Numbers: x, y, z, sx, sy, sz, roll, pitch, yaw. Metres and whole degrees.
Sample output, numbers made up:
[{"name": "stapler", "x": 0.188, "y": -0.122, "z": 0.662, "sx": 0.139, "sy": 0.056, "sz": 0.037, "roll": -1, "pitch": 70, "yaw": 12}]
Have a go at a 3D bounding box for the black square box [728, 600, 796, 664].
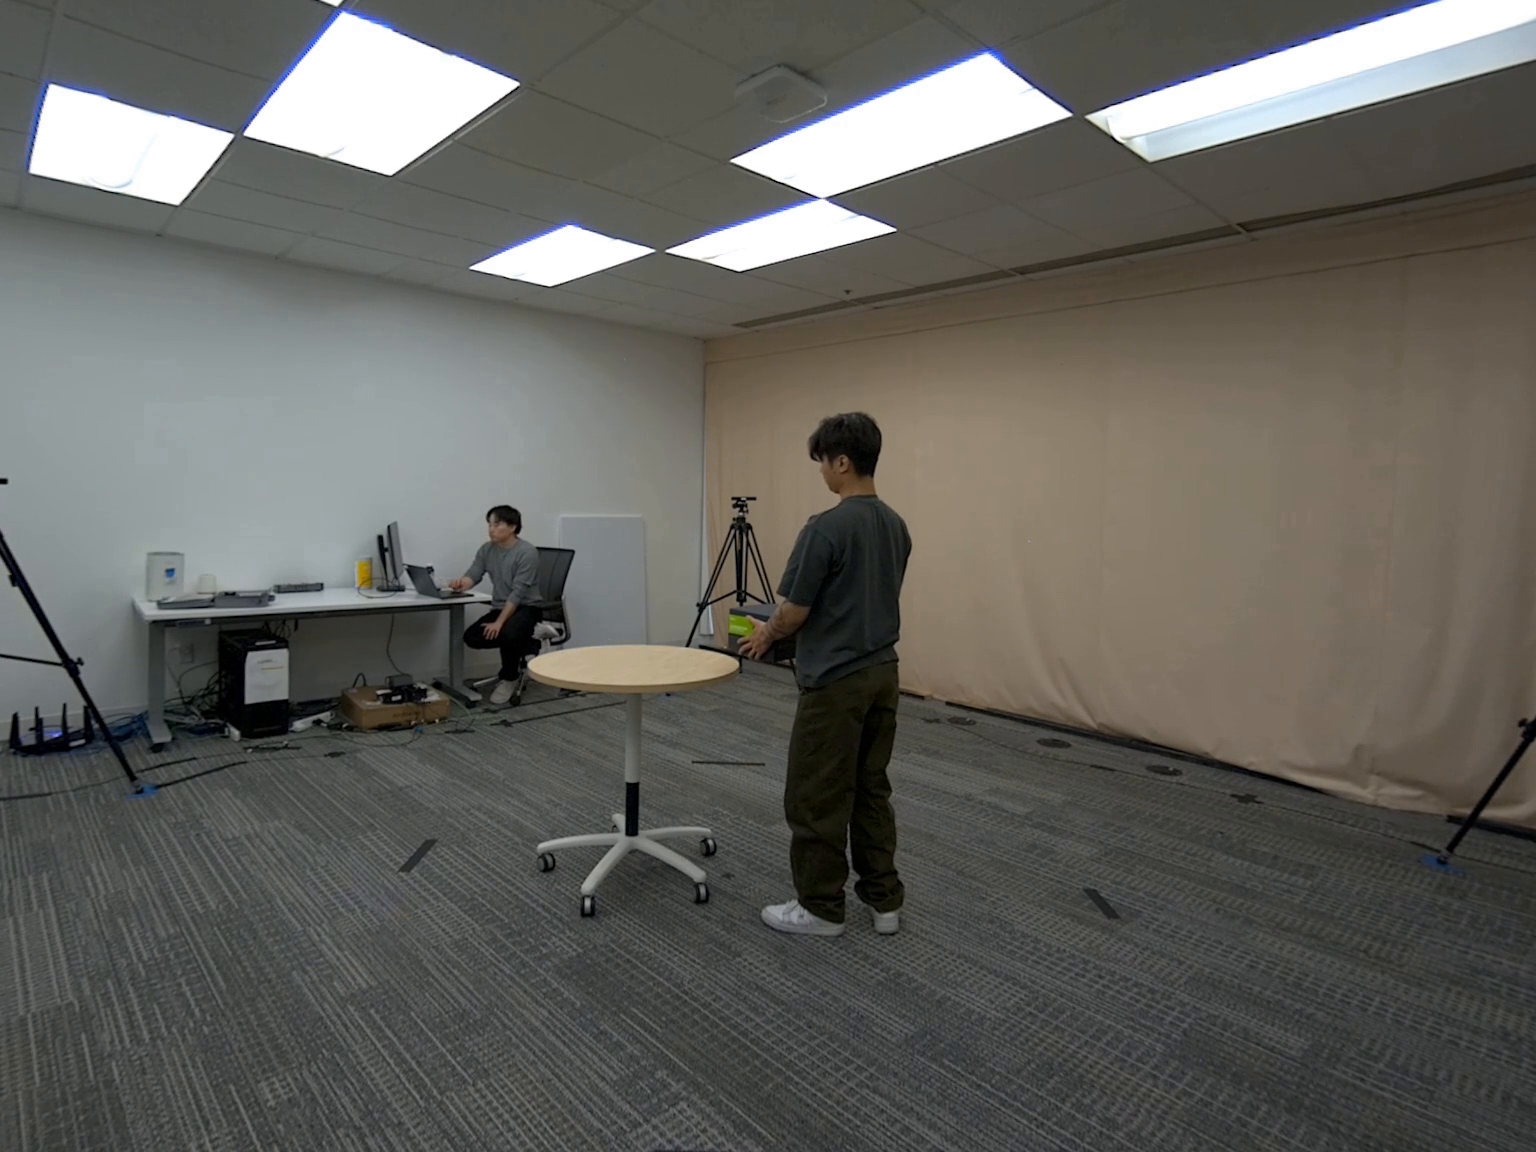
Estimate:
[{"name": "black square box", "x": 0.012, "y": 0.198, "z": 2.992, "sx": 0.234, "sy": 0.155, "sz": 0.212, "roll": 8, "pitch": 9, "yaw": 42}]
